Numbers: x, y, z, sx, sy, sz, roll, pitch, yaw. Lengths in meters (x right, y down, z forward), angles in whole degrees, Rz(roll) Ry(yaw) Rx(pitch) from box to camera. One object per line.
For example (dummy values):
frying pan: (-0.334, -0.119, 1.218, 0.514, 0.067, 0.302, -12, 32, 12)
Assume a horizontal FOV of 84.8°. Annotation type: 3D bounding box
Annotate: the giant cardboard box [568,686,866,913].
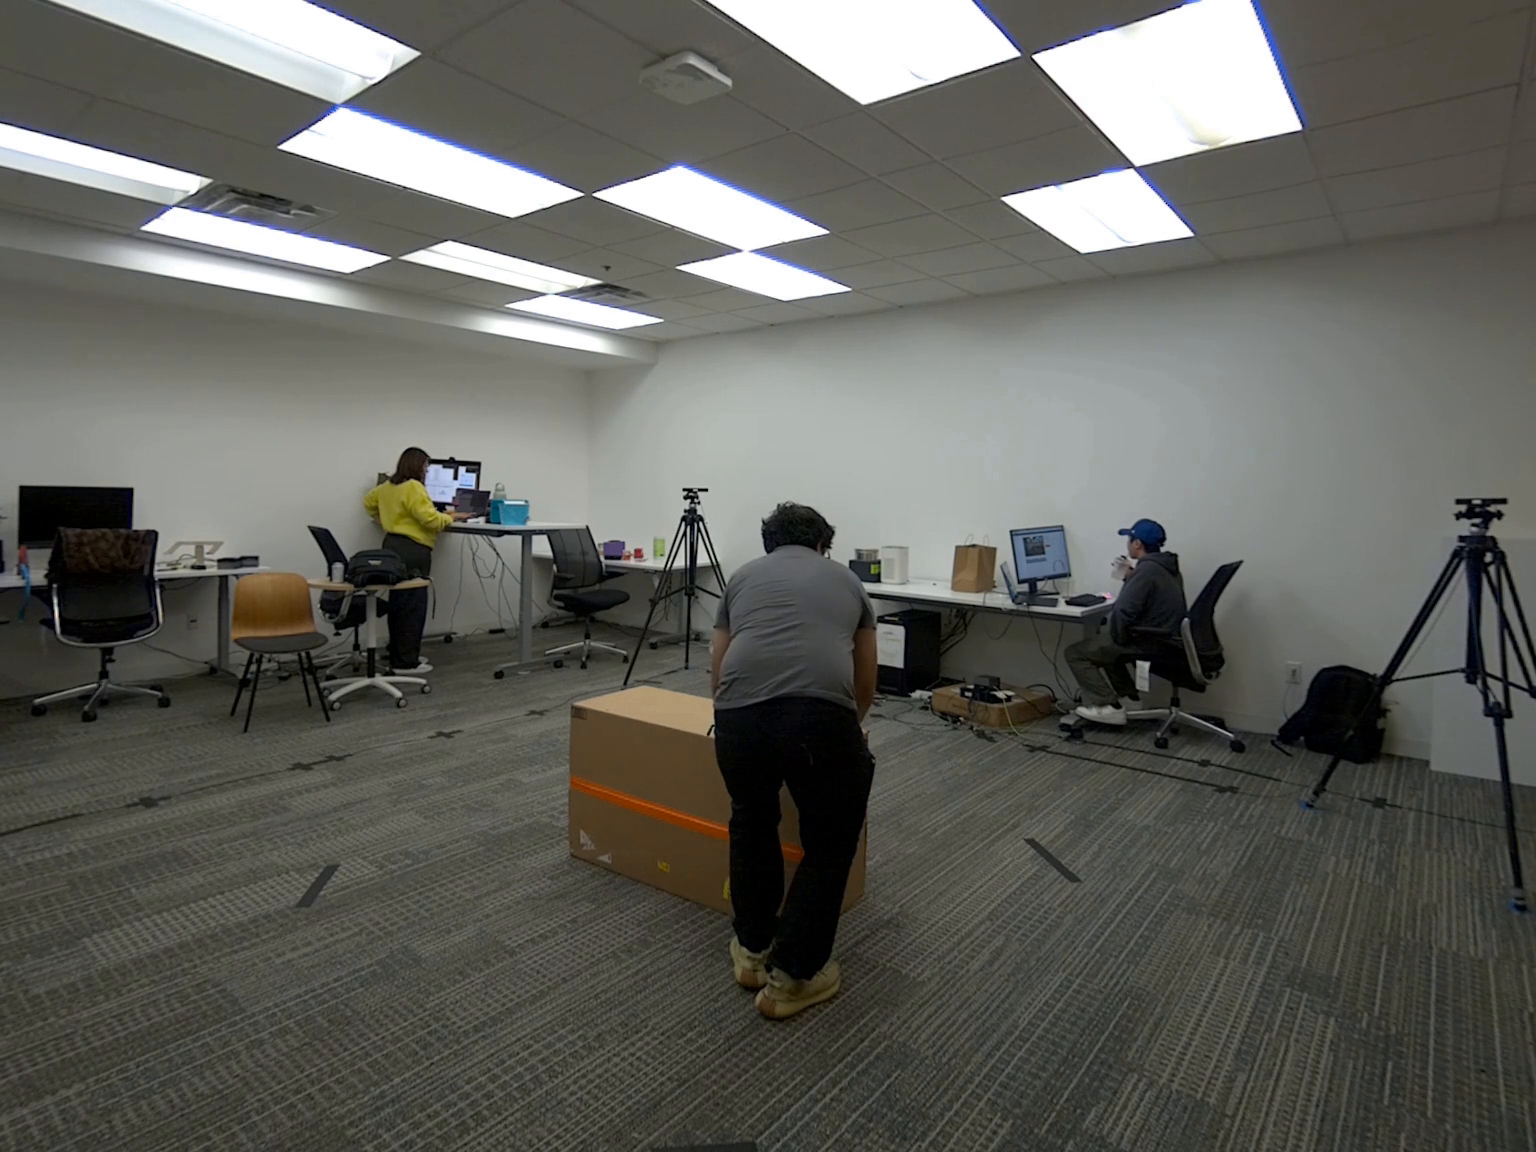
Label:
giant cardboard box: (-0.217, 0.787, 3.056, 1.059, 0.575, 0.414, 5, 6, 34)
